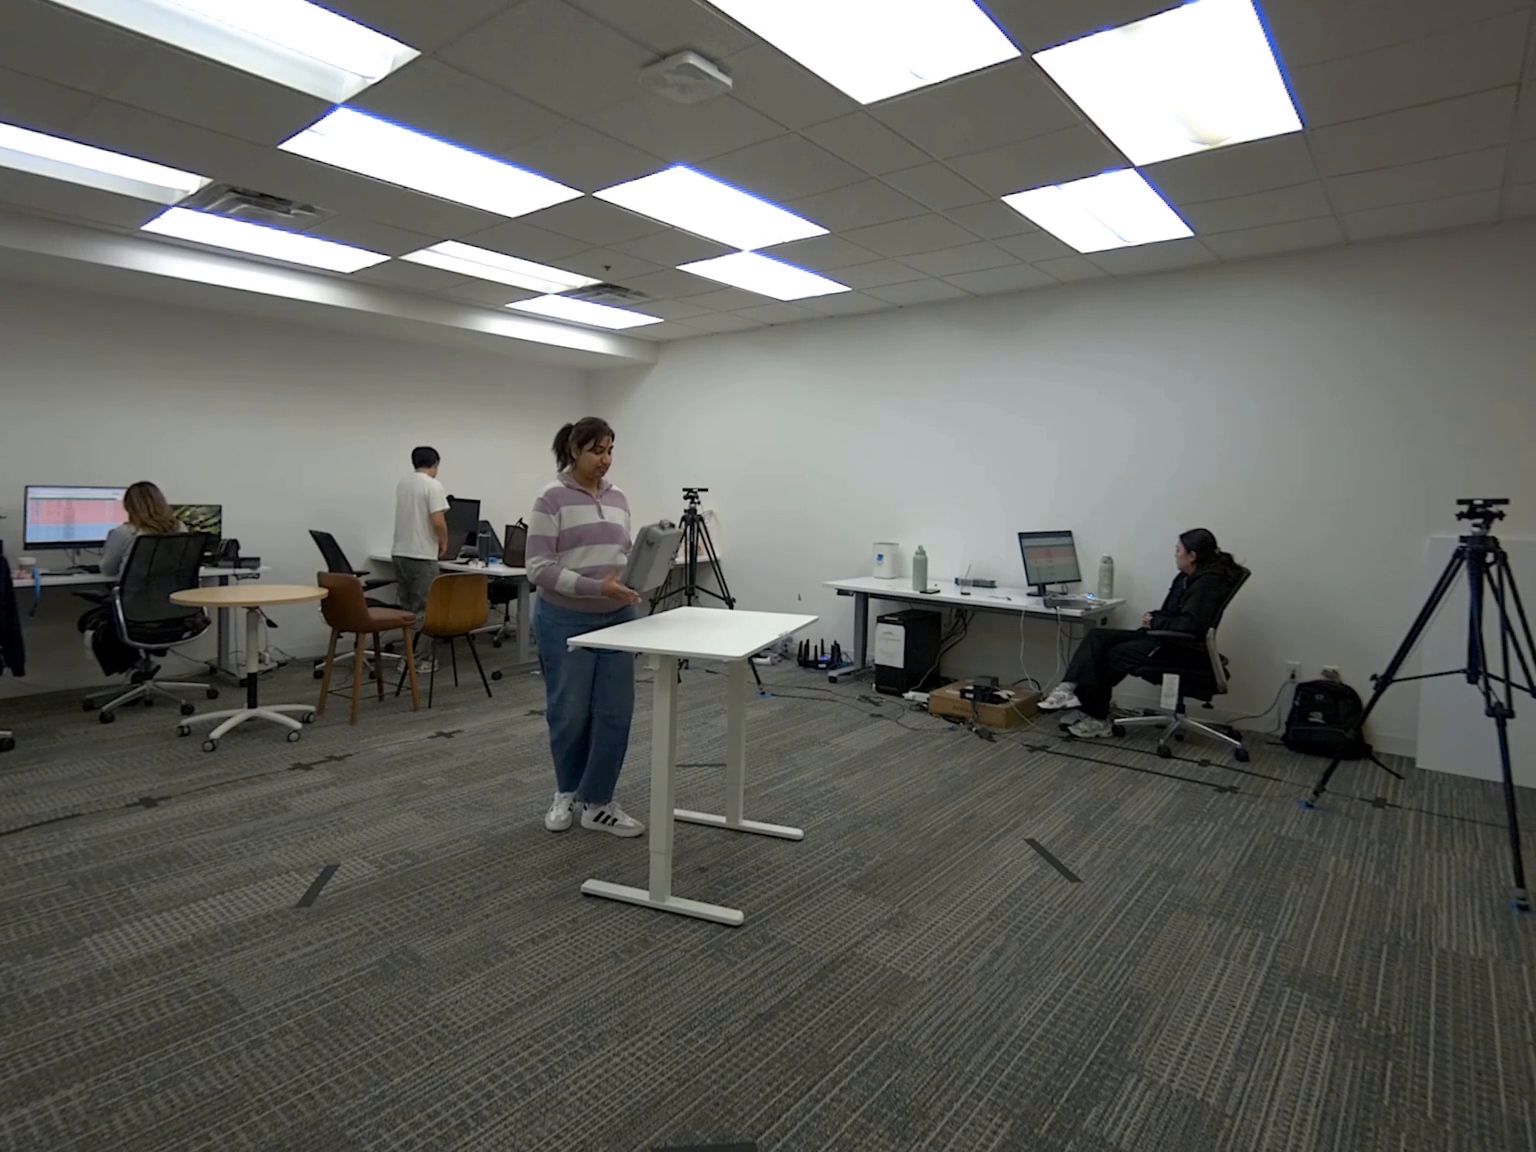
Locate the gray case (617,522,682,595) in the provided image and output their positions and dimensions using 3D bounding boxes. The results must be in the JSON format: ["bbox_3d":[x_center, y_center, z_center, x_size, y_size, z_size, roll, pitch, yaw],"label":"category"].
[{"bbox_3d":[-0.466,-0.084,3.296,0.105,0.259,0.255,21,10,7],"label":"gray case"}]
